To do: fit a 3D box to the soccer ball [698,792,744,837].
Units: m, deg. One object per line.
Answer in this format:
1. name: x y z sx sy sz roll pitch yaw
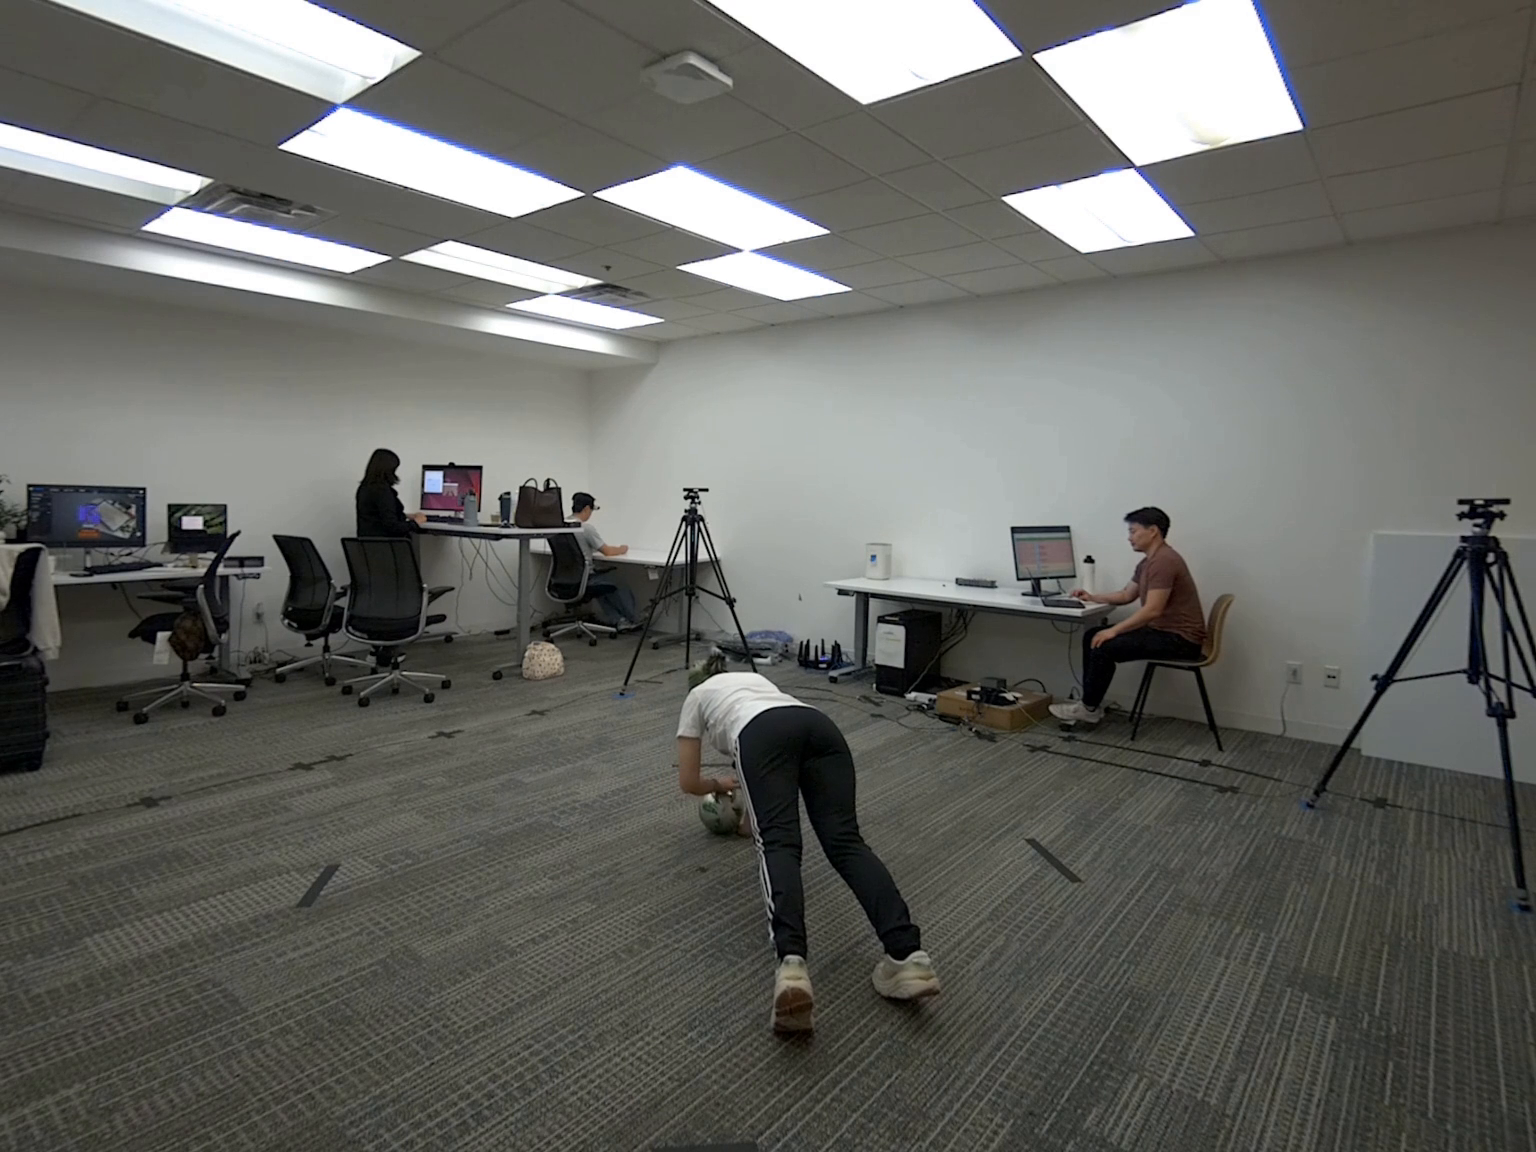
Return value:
1. soccer ball: -0.209 0.943 3.451 0.187 0.187 0.188 1 4 -2
